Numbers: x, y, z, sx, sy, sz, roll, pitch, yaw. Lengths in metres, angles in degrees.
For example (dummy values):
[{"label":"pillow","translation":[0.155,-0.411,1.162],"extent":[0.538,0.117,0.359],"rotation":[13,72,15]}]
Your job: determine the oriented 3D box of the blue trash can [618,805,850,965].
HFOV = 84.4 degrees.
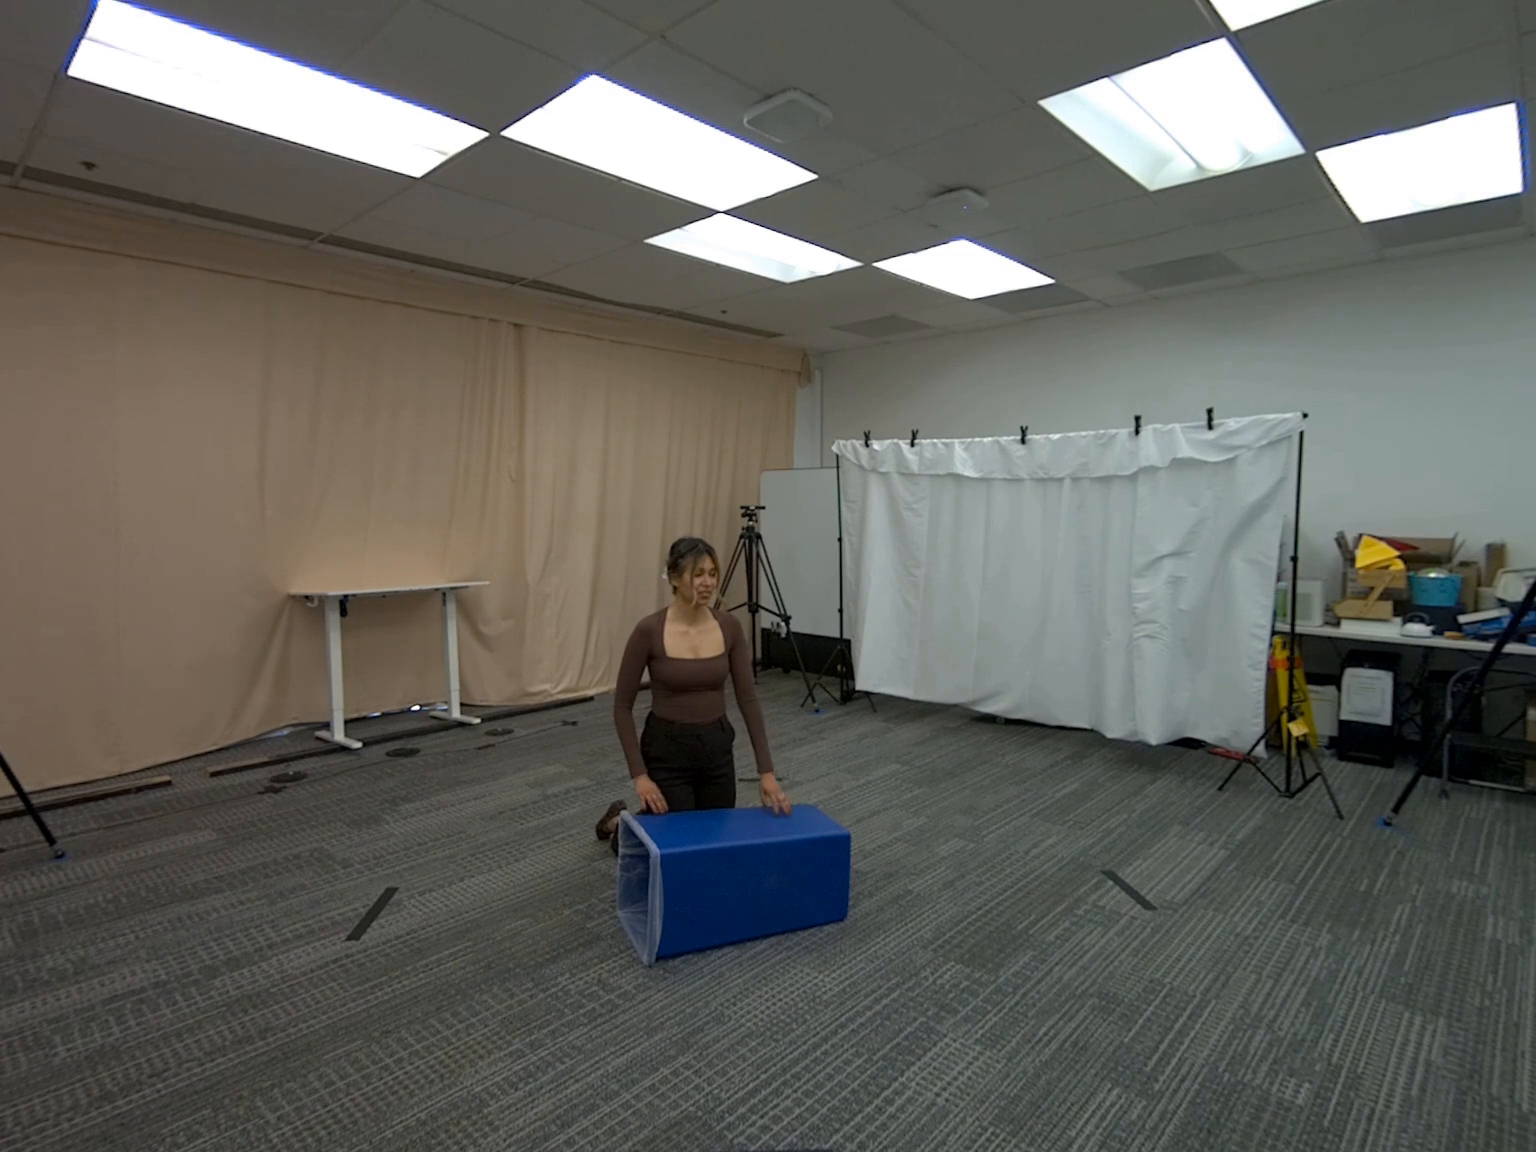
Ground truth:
[{"label":"blue trash can","translation":[-0.105,0.986,2.814],"extent":[0.698,0.377,0.383],"rotation":[0,2,-22]}]
